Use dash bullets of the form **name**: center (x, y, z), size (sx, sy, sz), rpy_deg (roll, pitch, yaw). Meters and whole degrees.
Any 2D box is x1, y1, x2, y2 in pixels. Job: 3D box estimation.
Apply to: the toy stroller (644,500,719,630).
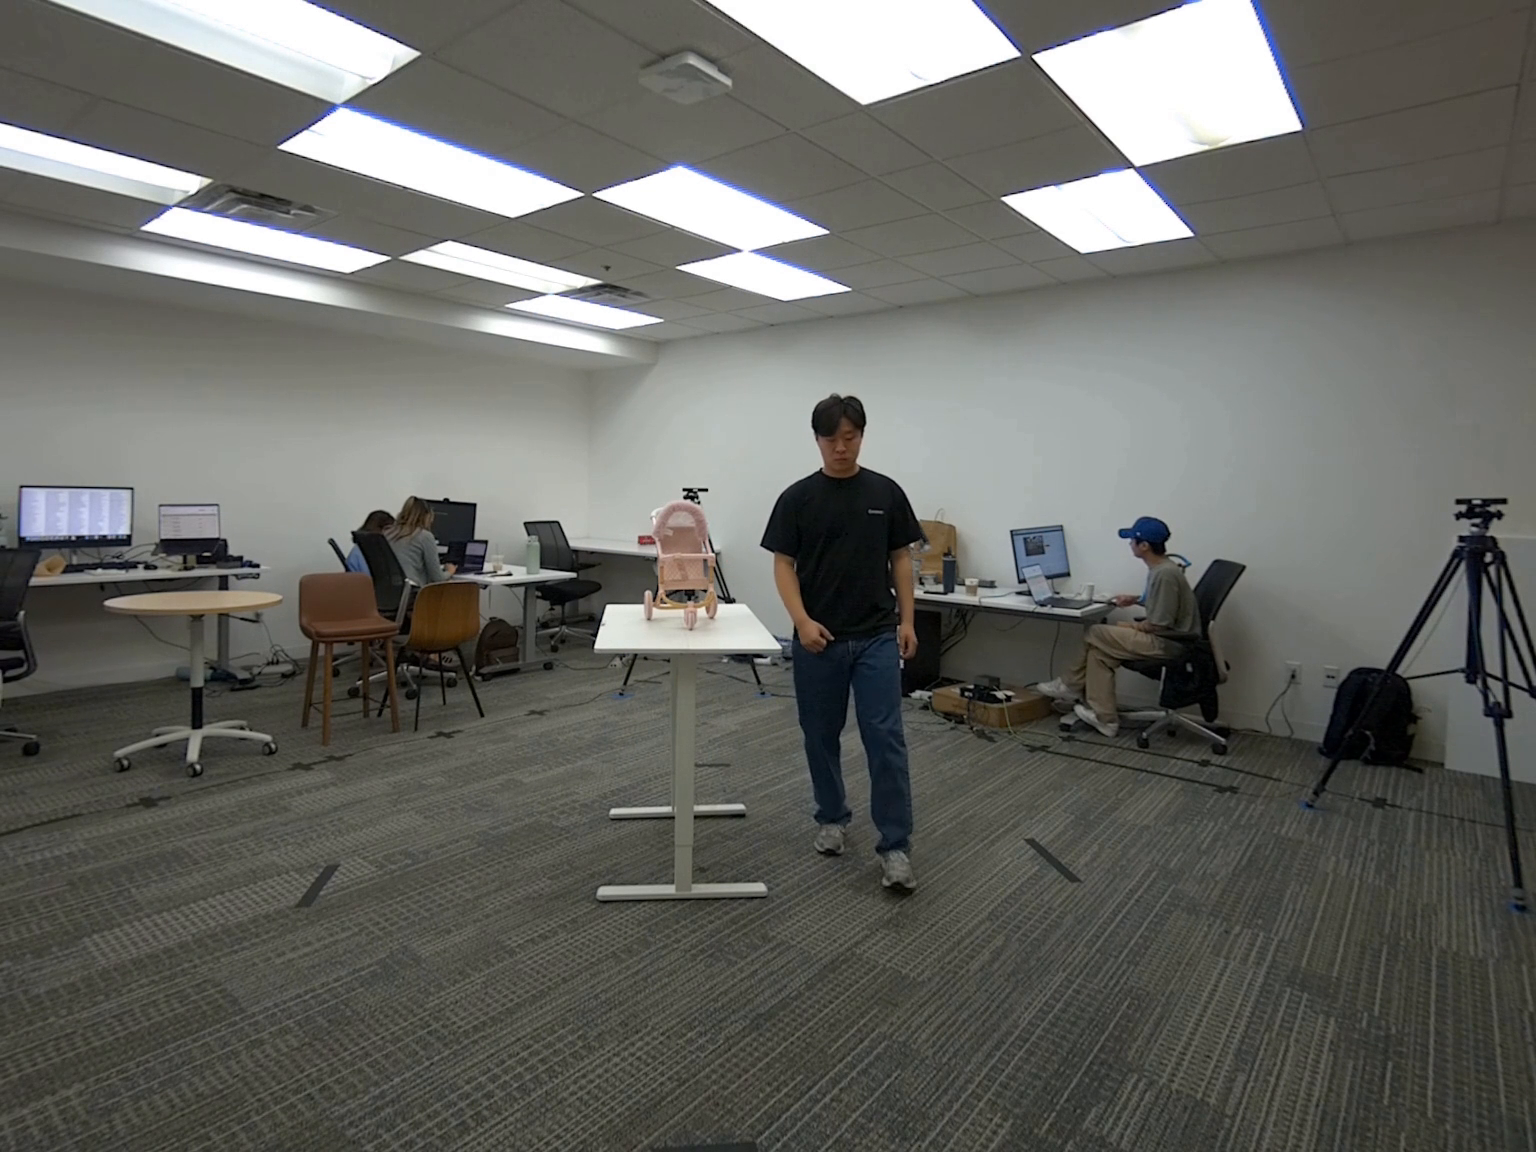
- **toy stroller**: center (-0.338, -0.052, 3.238), size (0.279, 0.541, 0.340), rpy_deg (0, -12, -10)
